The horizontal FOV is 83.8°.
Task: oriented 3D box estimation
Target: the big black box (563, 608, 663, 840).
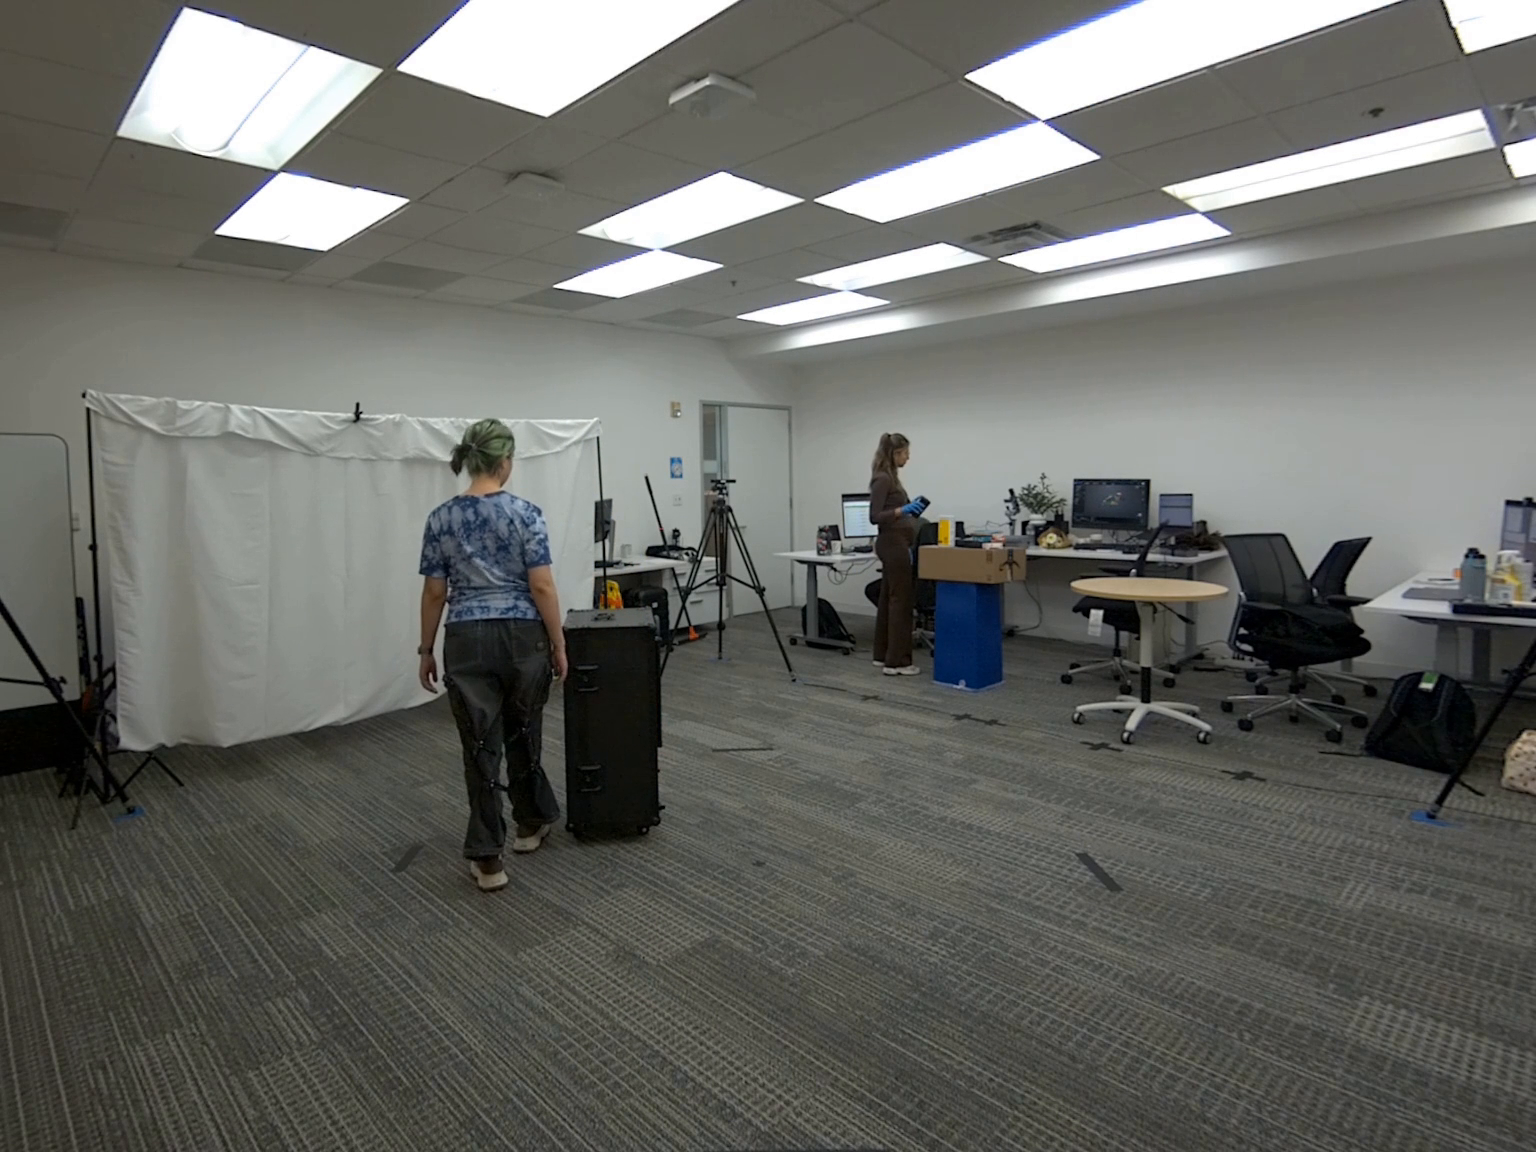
[{"bbox_3d":[-0.632,0.591,3.500,0.394,0.859,0.526,-1,4,-8],"label":"big black box"}]
